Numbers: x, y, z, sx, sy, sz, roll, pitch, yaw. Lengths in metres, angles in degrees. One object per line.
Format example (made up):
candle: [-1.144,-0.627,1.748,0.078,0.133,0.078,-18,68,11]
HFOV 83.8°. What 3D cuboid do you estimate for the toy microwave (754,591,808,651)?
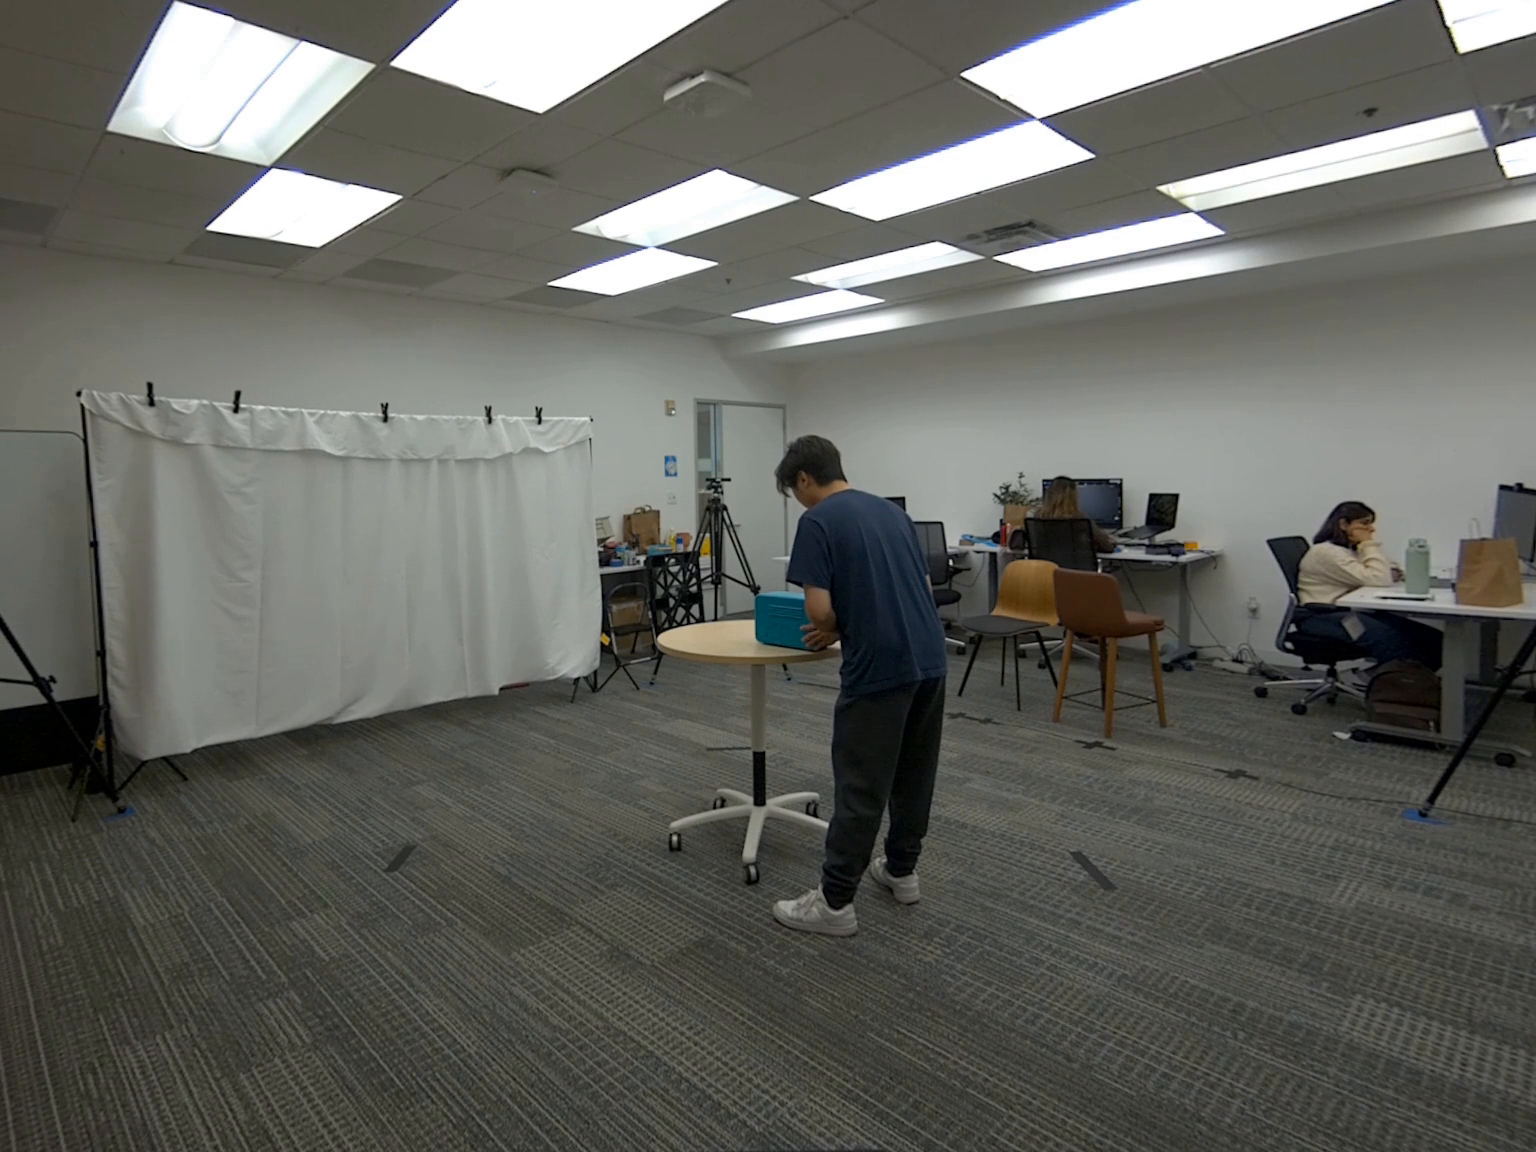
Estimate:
toy microwave: [0.103,0.158,3.067,0.295,0.183,0.148,4,7,41]
